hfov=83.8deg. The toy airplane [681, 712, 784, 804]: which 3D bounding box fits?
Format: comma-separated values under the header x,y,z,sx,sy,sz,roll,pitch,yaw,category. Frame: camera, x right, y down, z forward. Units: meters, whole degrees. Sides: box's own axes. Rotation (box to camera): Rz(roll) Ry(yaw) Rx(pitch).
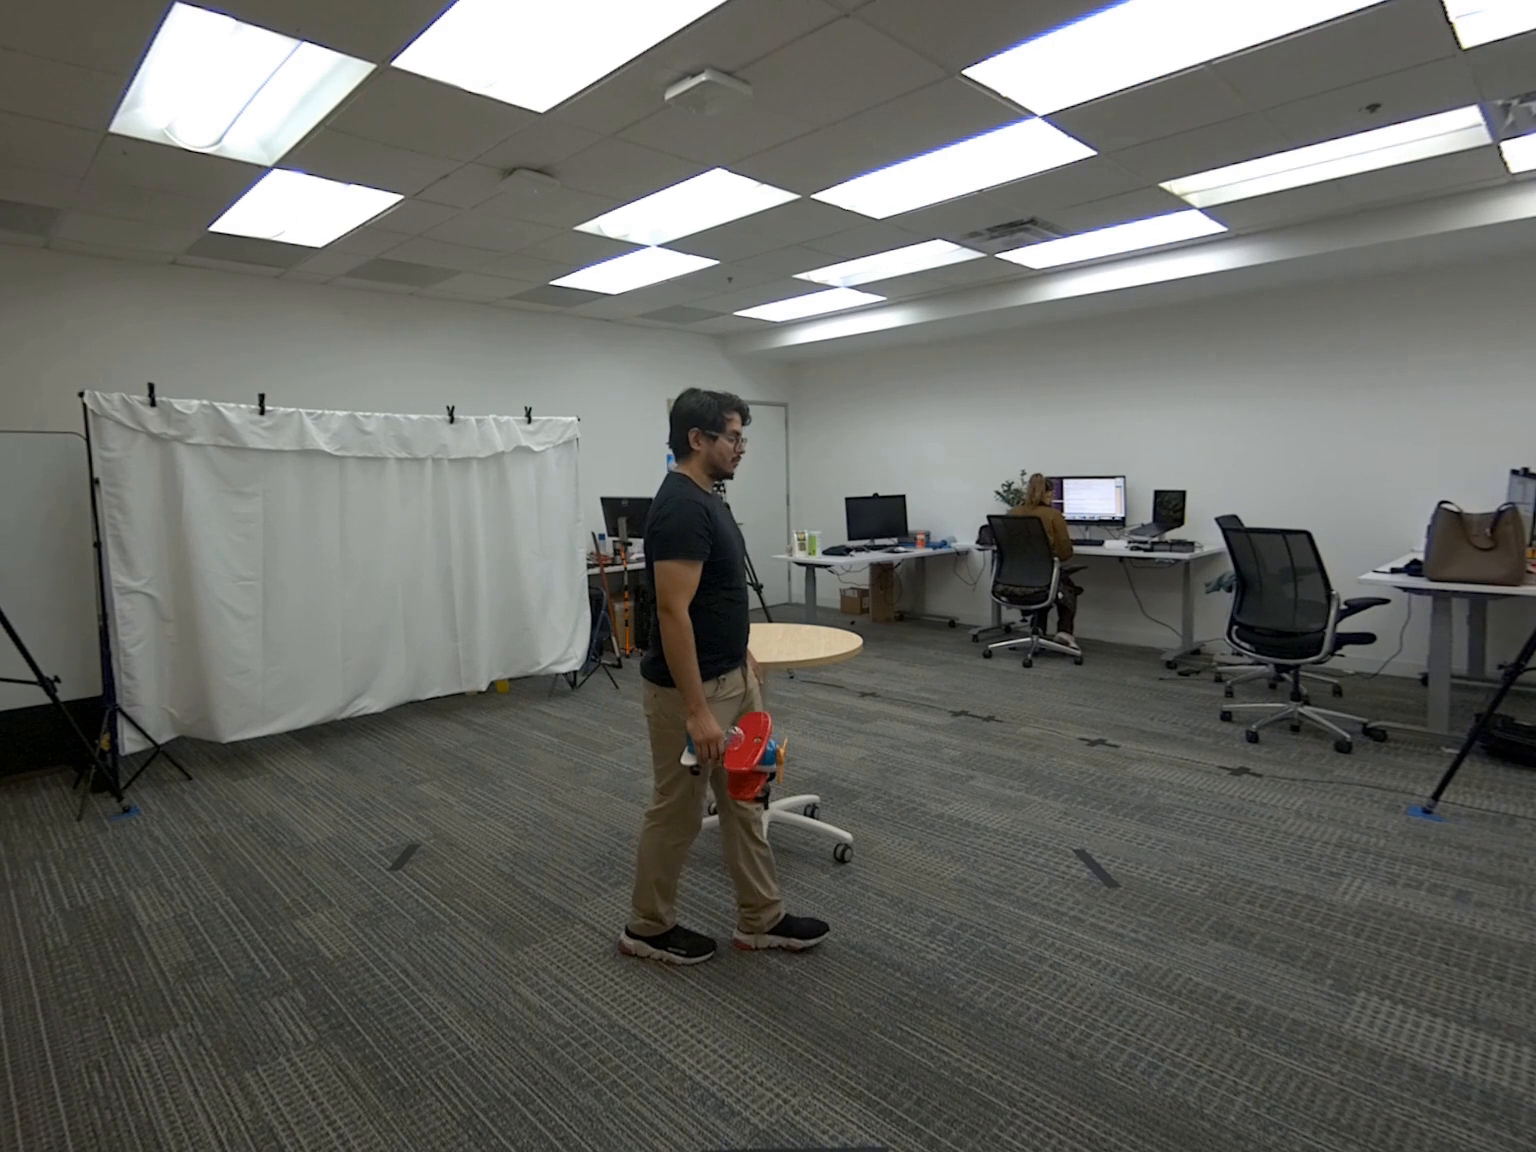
x,y,z,sx,sy,sz,roll,pitch,yaw,category
-0.092,0.472,2.170,0.255,0.154,0.259,2,27,-18,toy airplane
